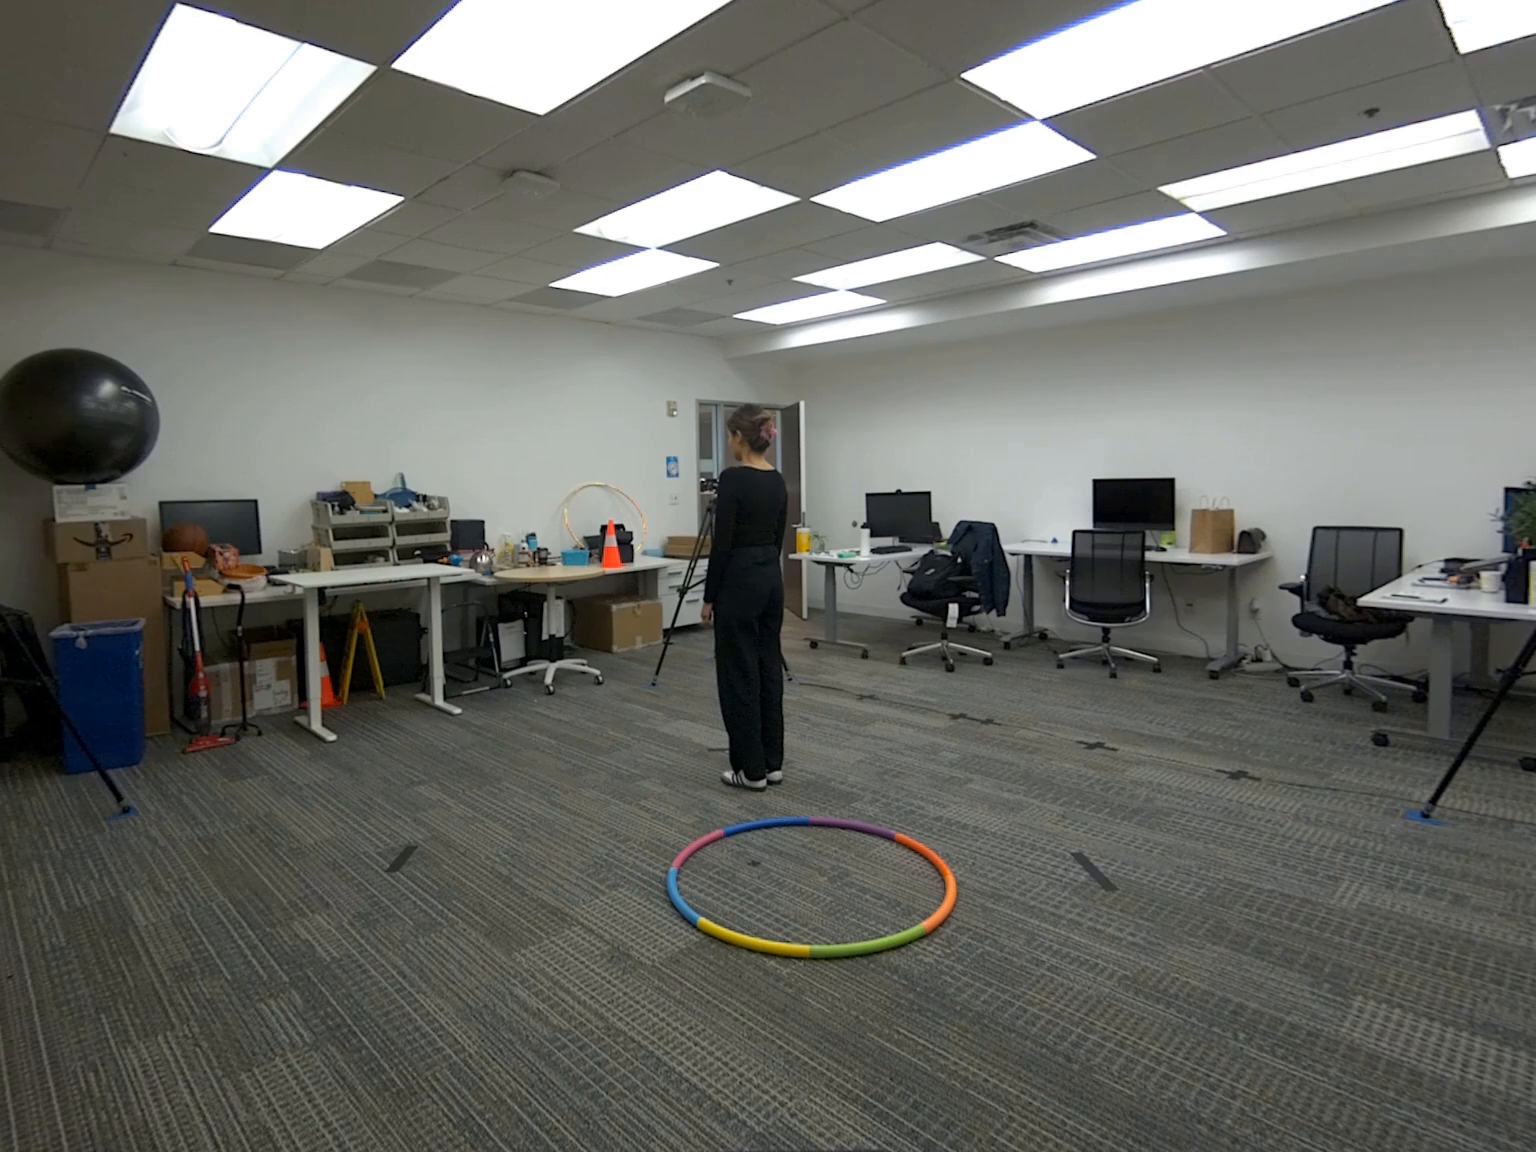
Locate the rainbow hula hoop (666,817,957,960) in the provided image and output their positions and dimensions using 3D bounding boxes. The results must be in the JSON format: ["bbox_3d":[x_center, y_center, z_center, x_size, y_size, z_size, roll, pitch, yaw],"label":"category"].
[{"bbox_3d":[0.141,1.027,2.965,0.978,0.035,0.984,-1,7,-2],"label":"rainbow hula hoop"}]
